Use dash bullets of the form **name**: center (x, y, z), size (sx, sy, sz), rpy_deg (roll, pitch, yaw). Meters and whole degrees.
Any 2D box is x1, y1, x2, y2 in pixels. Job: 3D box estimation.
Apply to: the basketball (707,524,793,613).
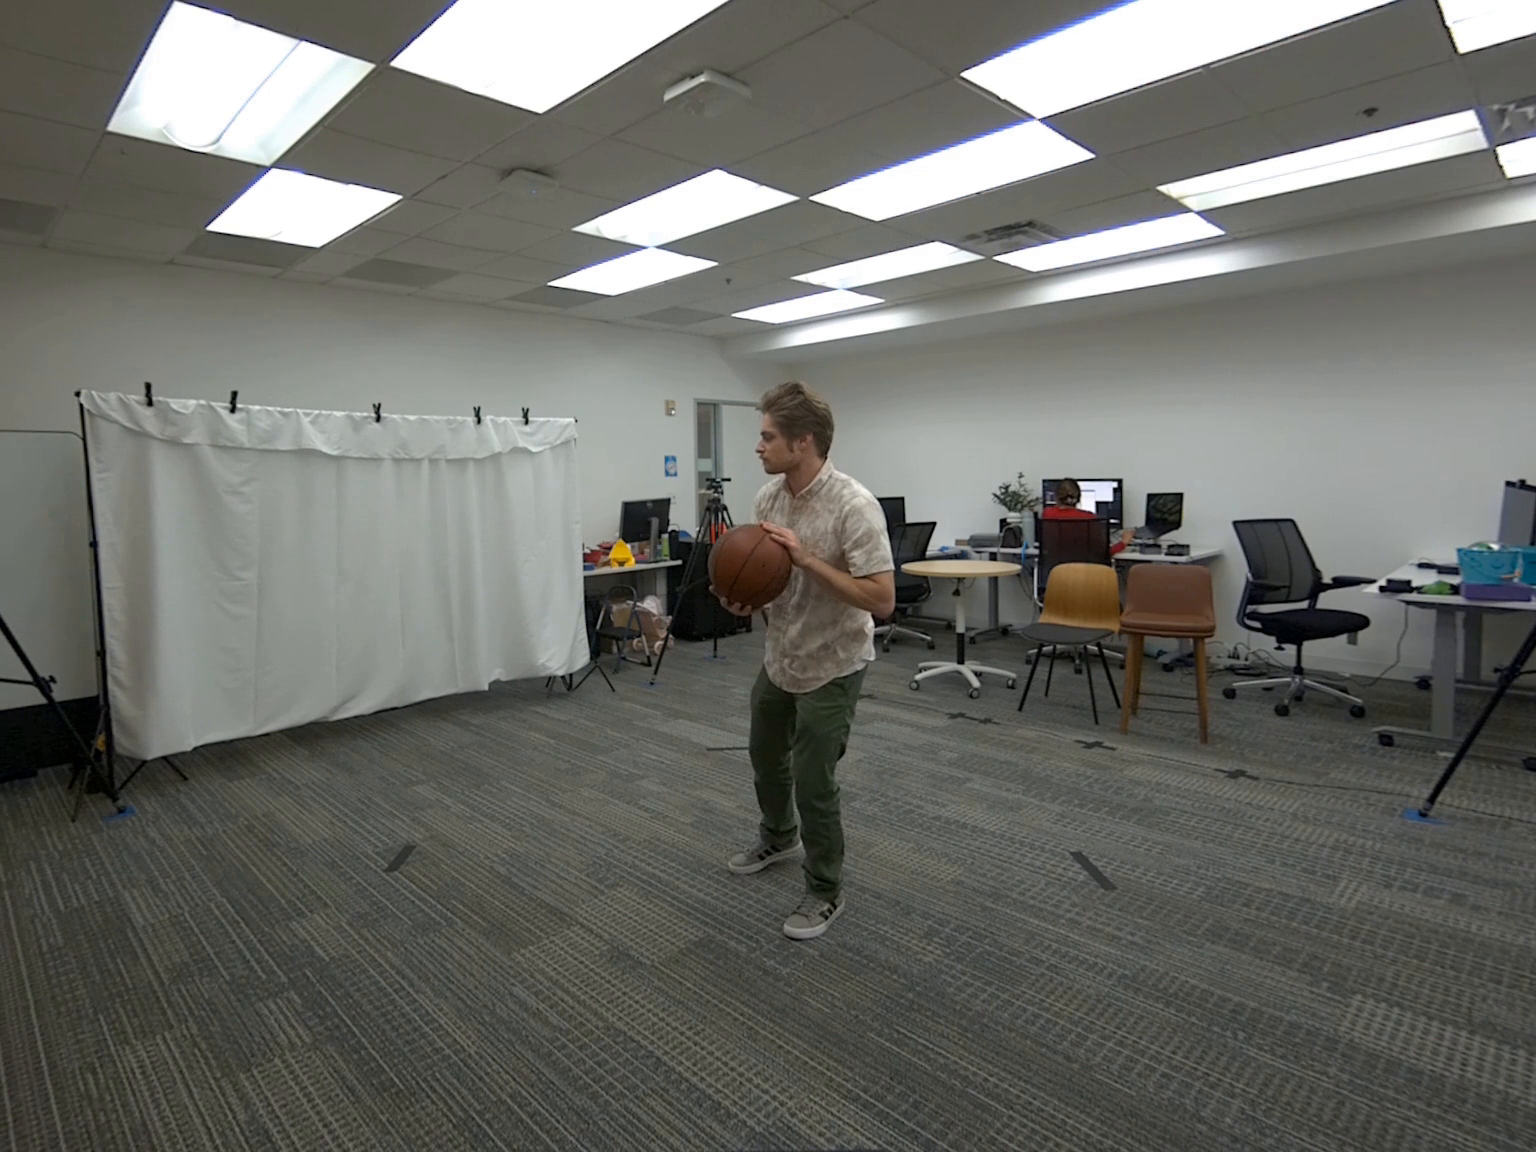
- **basketball**: center (-0.046, -0.025, 2.429), size (0.236, 0.235, 0.237), rpy_deg (-1, 5, -2)
